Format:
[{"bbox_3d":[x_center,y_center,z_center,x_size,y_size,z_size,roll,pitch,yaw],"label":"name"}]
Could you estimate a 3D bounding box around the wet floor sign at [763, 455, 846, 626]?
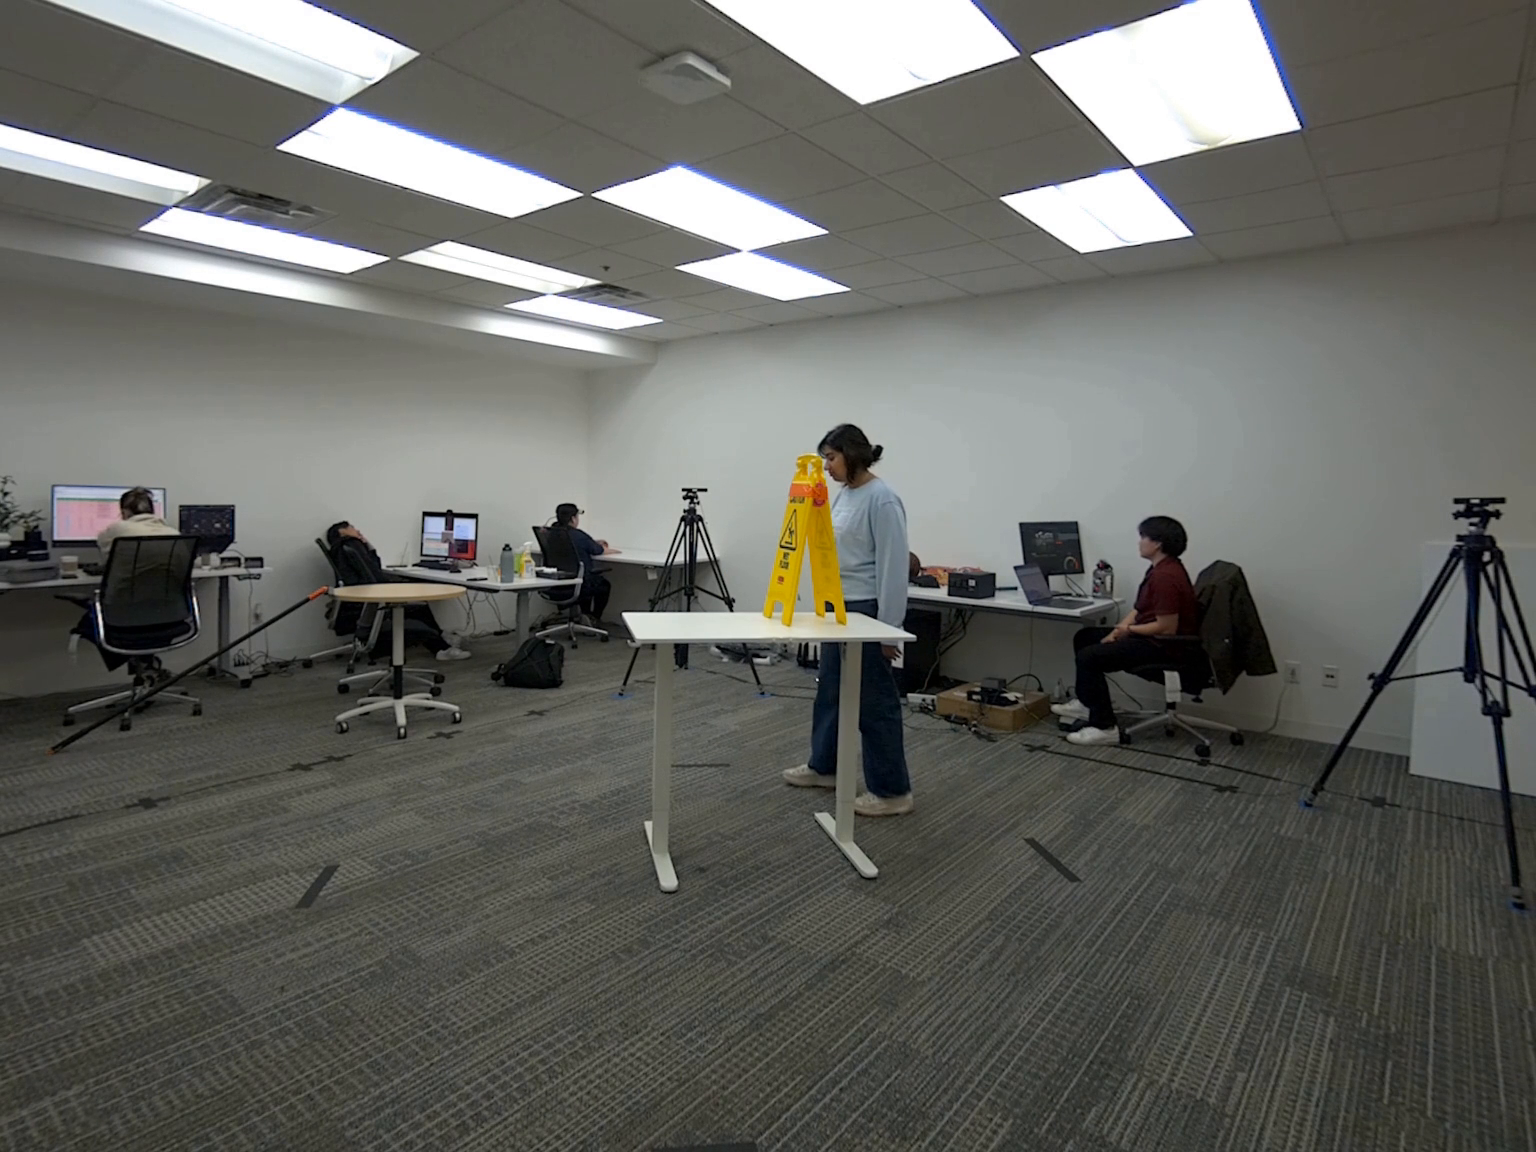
[{"bbox_3d":[0.140,-0.152,3.336,0.284,0.644,0.288,0,3,-18],"label":"wet floor sign"}]
